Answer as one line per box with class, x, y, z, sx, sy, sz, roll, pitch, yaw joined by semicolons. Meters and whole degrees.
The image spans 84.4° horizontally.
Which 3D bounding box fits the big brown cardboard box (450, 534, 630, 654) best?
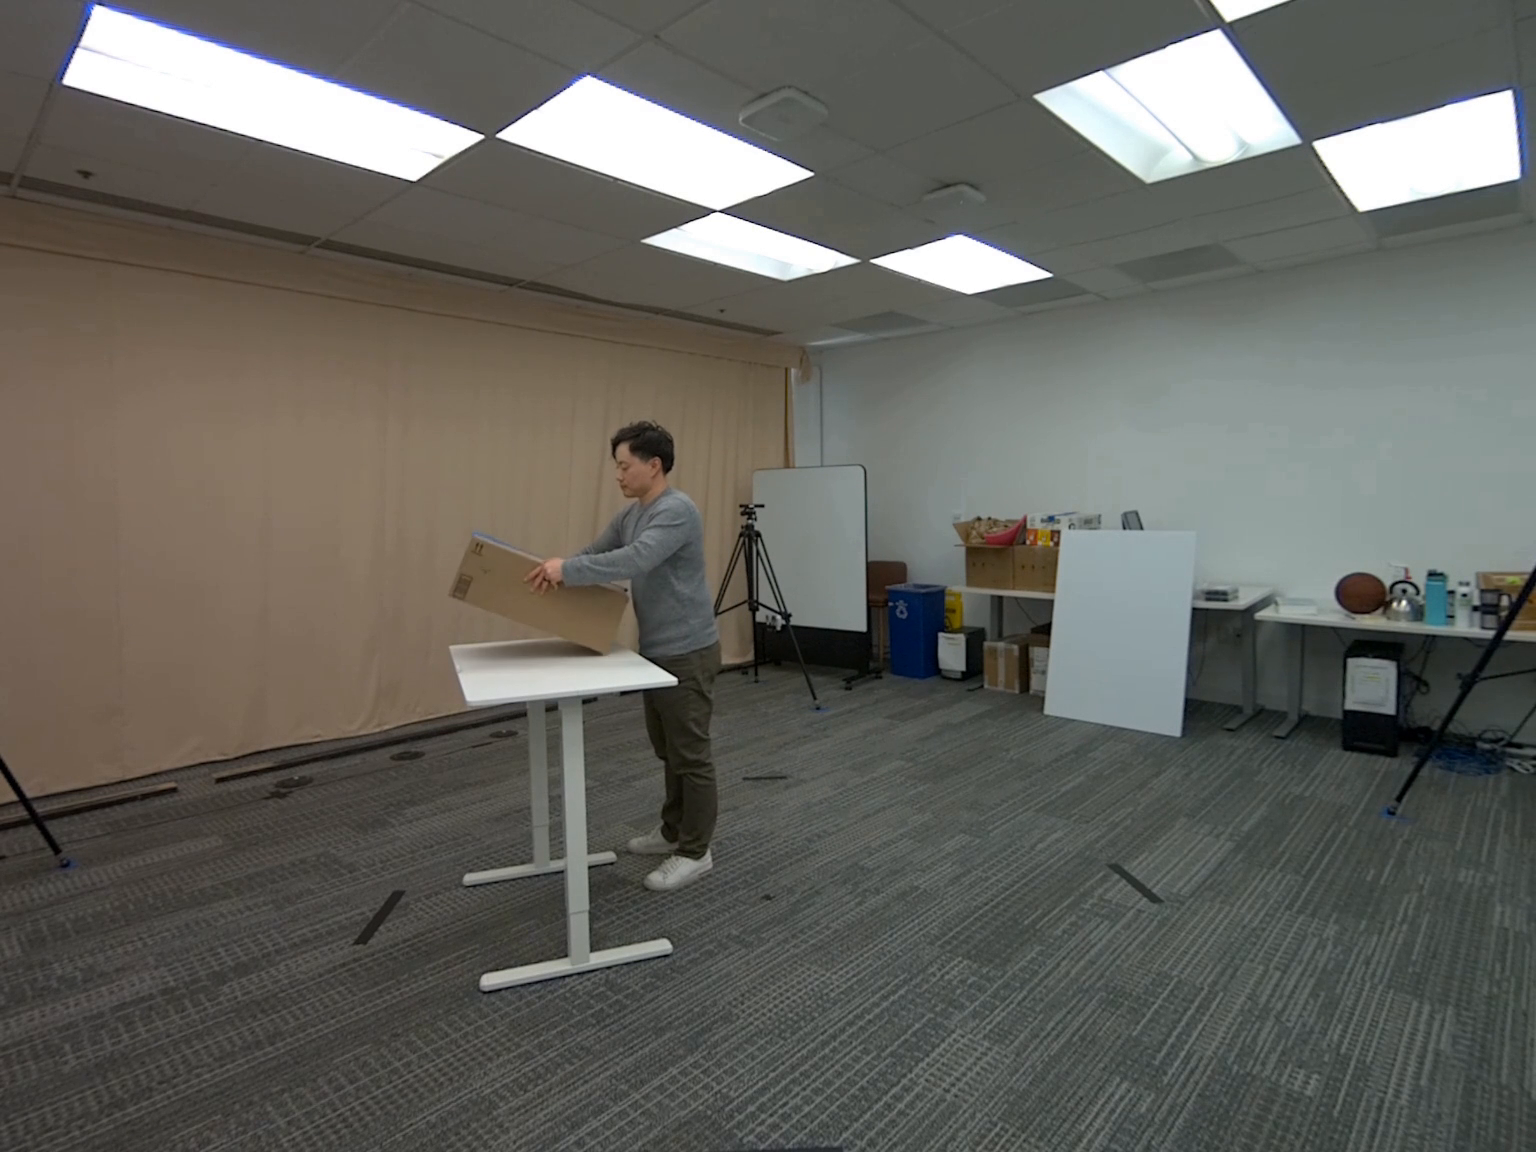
big brown cardboard box;-0.826;0.056;3.035;0.577;0.233;0.426;22;-3;-17
